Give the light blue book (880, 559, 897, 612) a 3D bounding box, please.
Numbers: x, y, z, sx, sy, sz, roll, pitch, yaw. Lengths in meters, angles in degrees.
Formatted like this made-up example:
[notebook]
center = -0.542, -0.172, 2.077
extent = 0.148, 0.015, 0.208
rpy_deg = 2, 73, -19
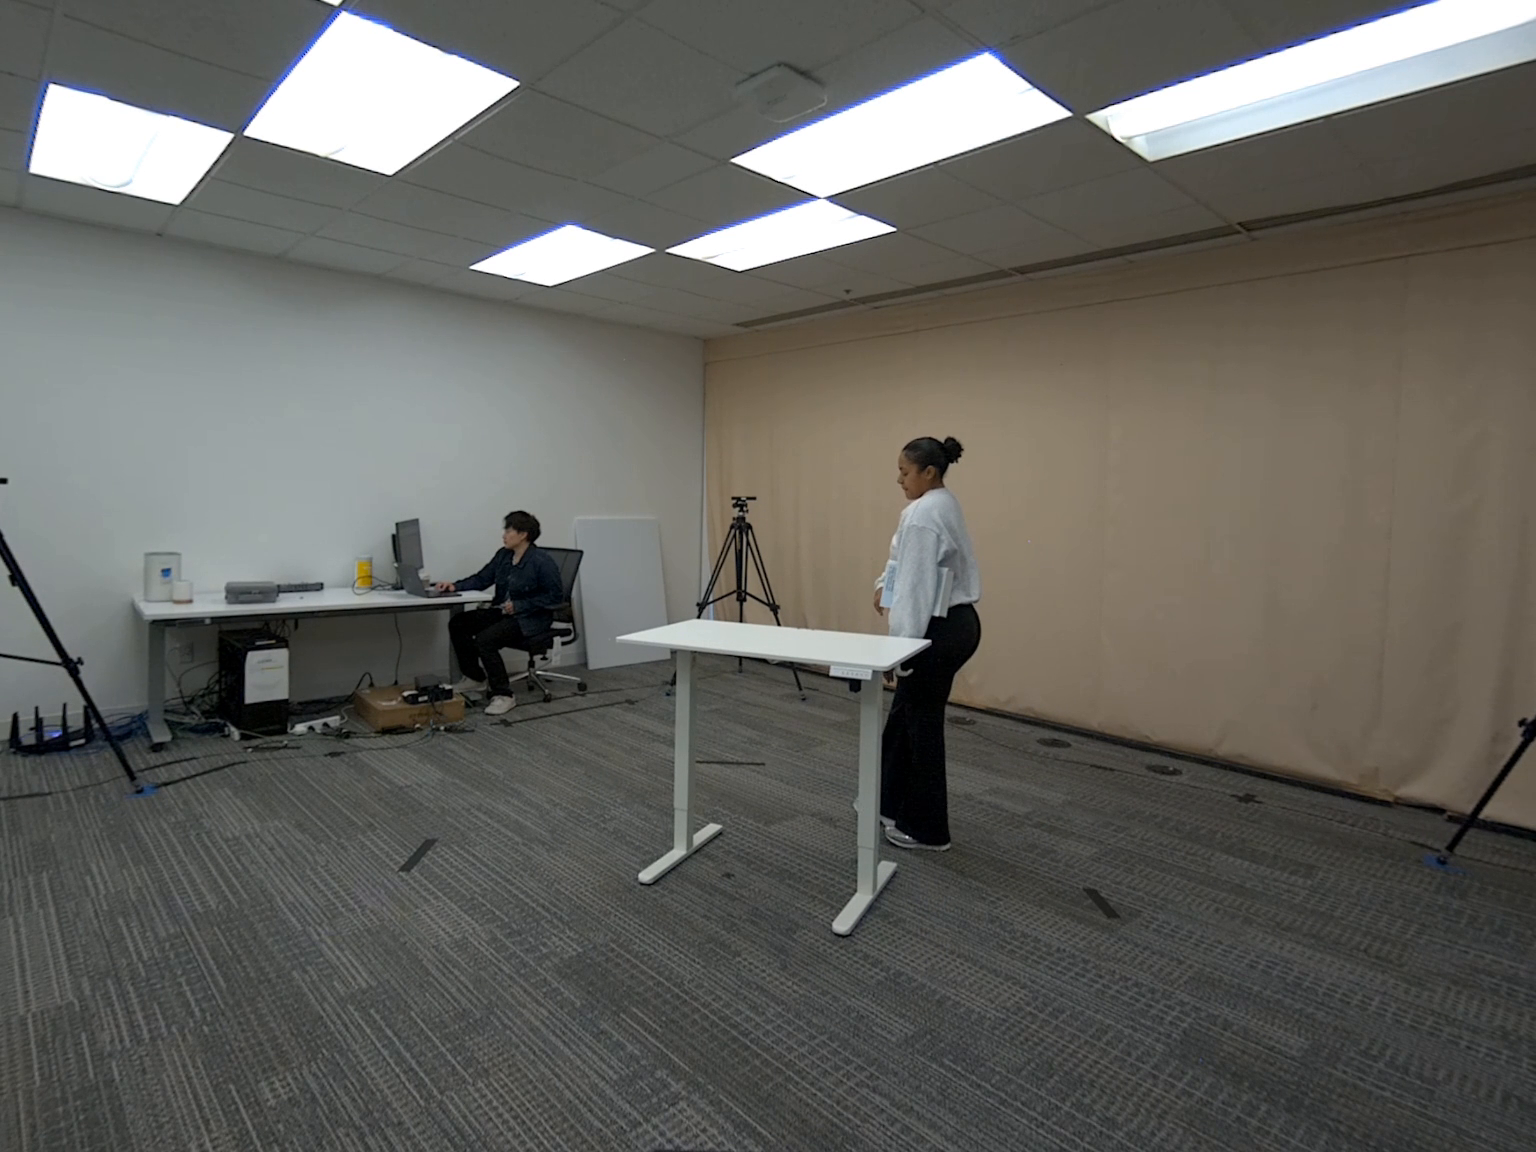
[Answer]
[light blue book]
center = 0.593, 0.050, 3.288
extent = 0.267, 0.192, 0.057
rpy_deg = 6, -7, 35
